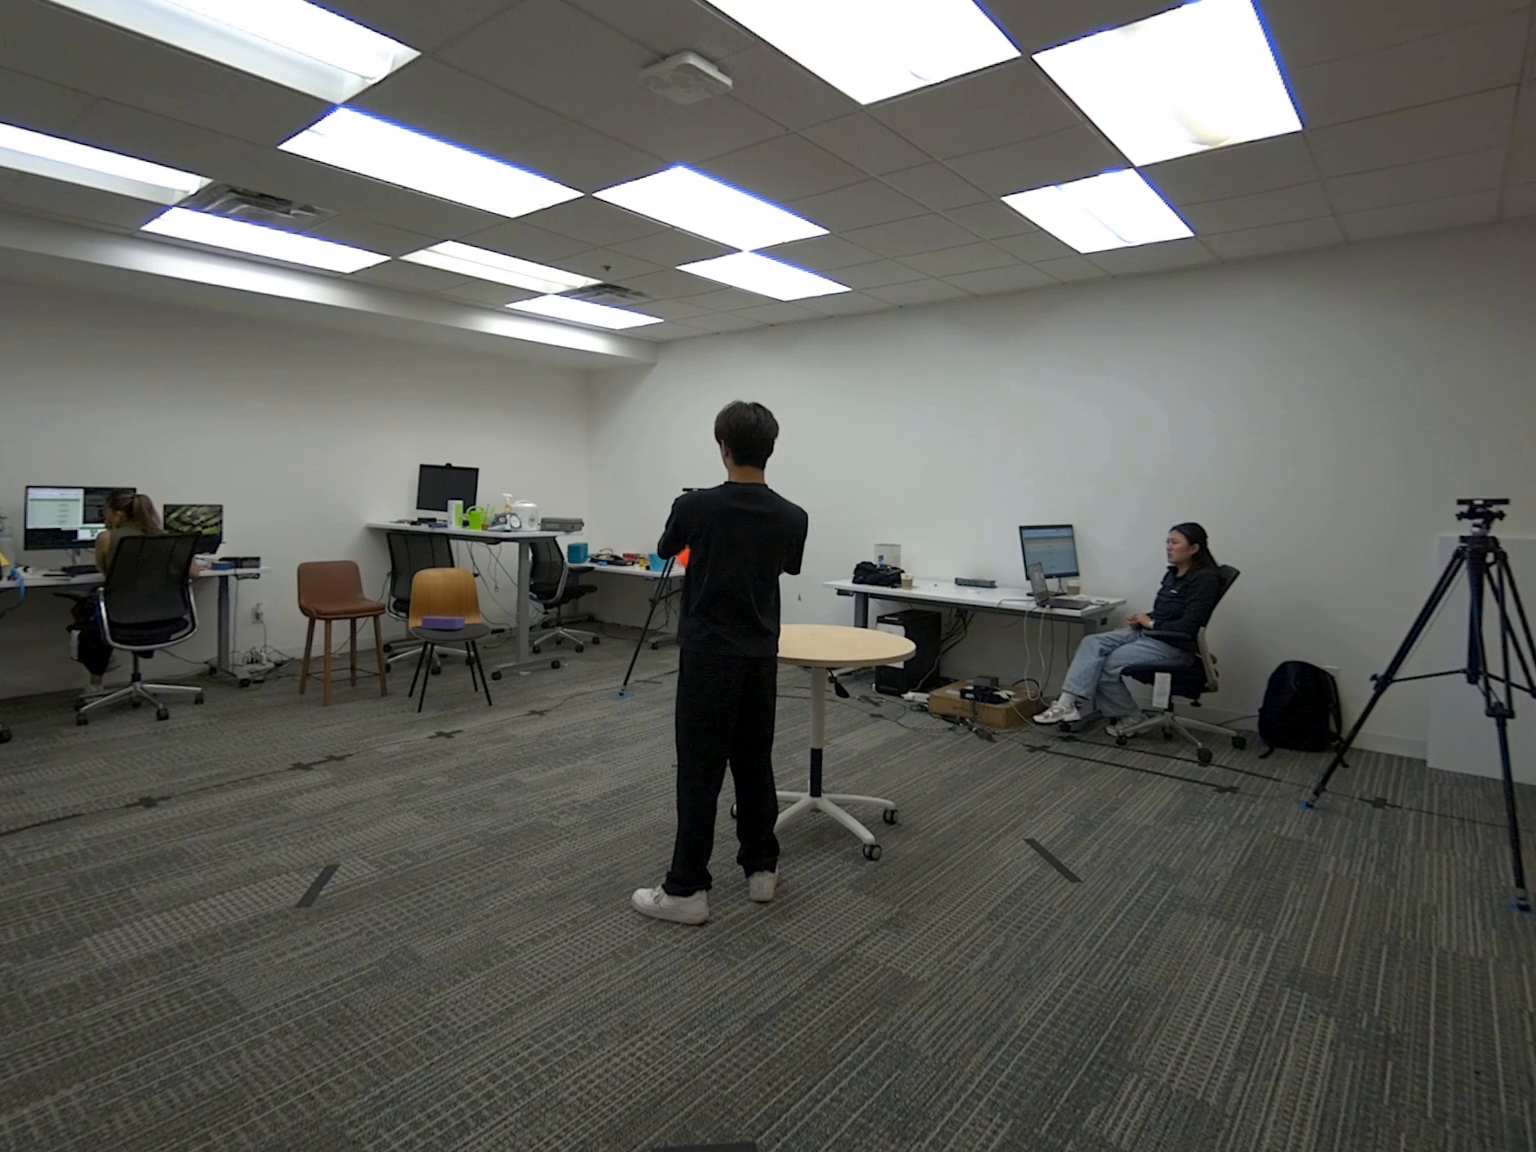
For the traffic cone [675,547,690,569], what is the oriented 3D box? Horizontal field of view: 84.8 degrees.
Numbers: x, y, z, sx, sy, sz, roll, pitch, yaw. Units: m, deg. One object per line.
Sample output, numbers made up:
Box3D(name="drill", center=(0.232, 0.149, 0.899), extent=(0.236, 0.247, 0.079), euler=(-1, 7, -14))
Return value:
Box3D(name="traffic cone", center=(-0.222, -0.193, 3.329), extent=(0.200, 0.212, 0.378), euler=(-19, -30, -31))
